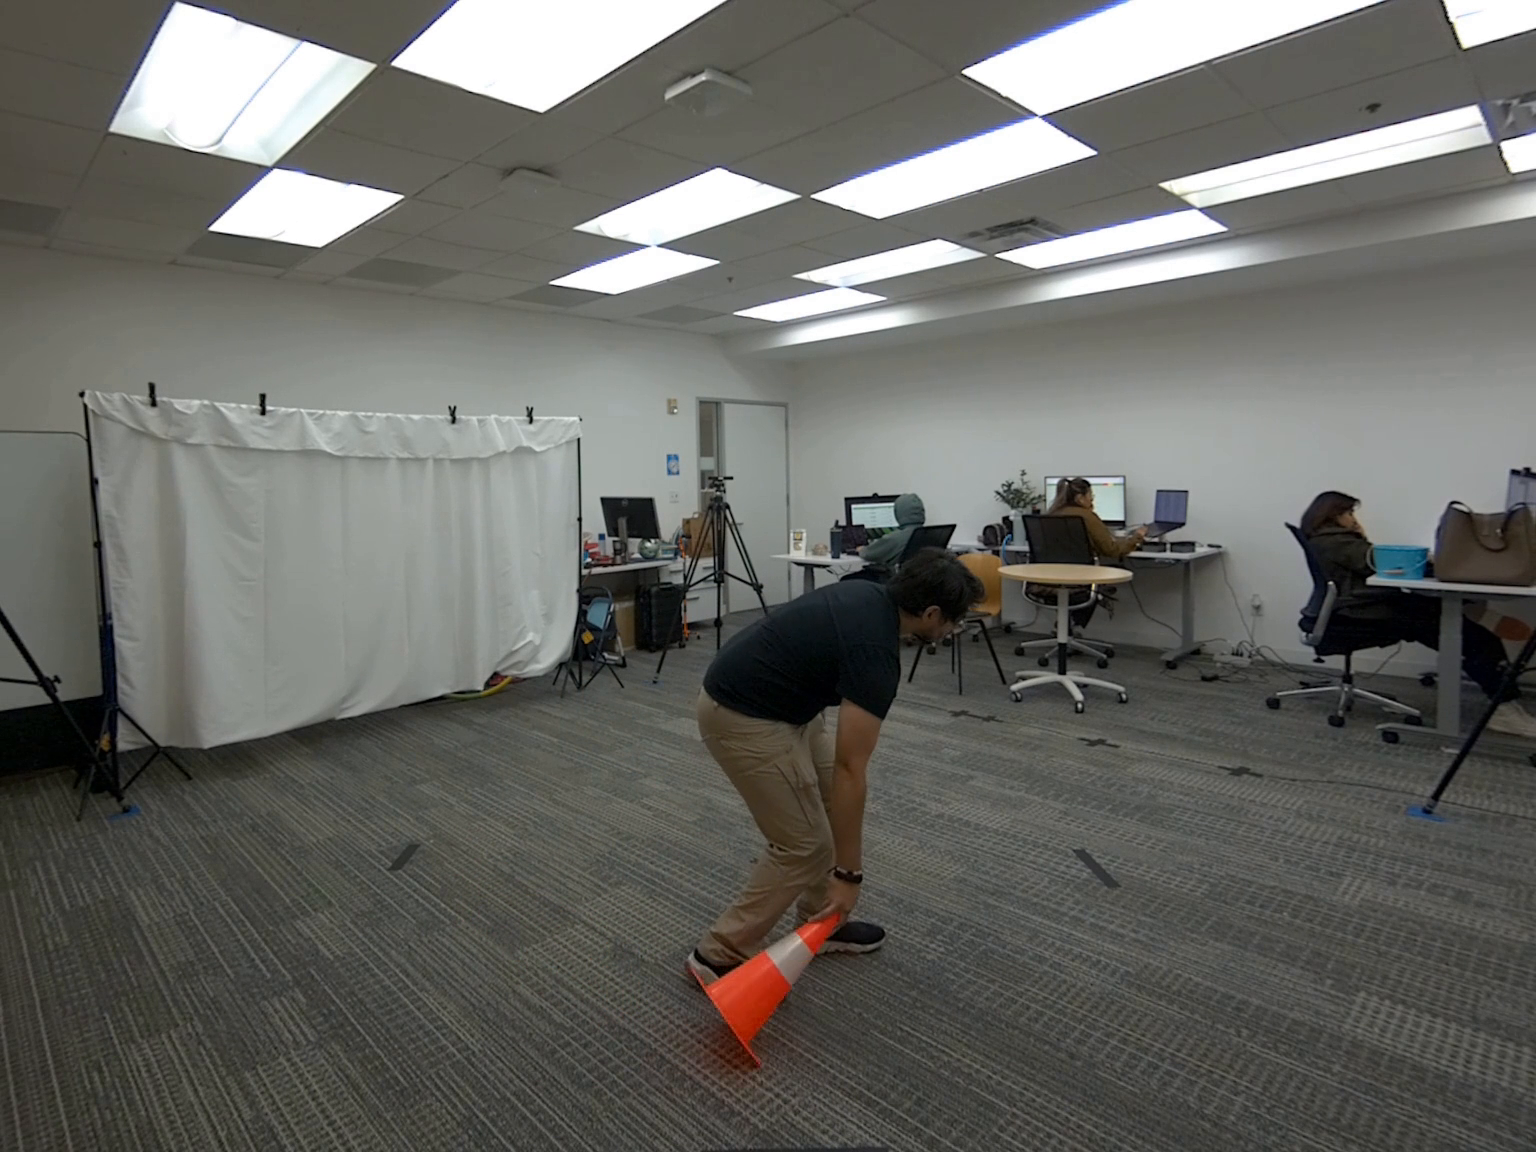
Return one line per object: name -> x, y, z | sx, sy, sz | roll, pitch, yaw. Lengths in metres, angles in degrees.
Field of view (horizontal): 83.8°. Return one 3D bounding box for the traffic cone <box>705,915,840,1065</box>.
traffic cone -> 0.044, 0.967, 2.138 | 0.382, 0.200, 0.209 | -39, 20, -16
